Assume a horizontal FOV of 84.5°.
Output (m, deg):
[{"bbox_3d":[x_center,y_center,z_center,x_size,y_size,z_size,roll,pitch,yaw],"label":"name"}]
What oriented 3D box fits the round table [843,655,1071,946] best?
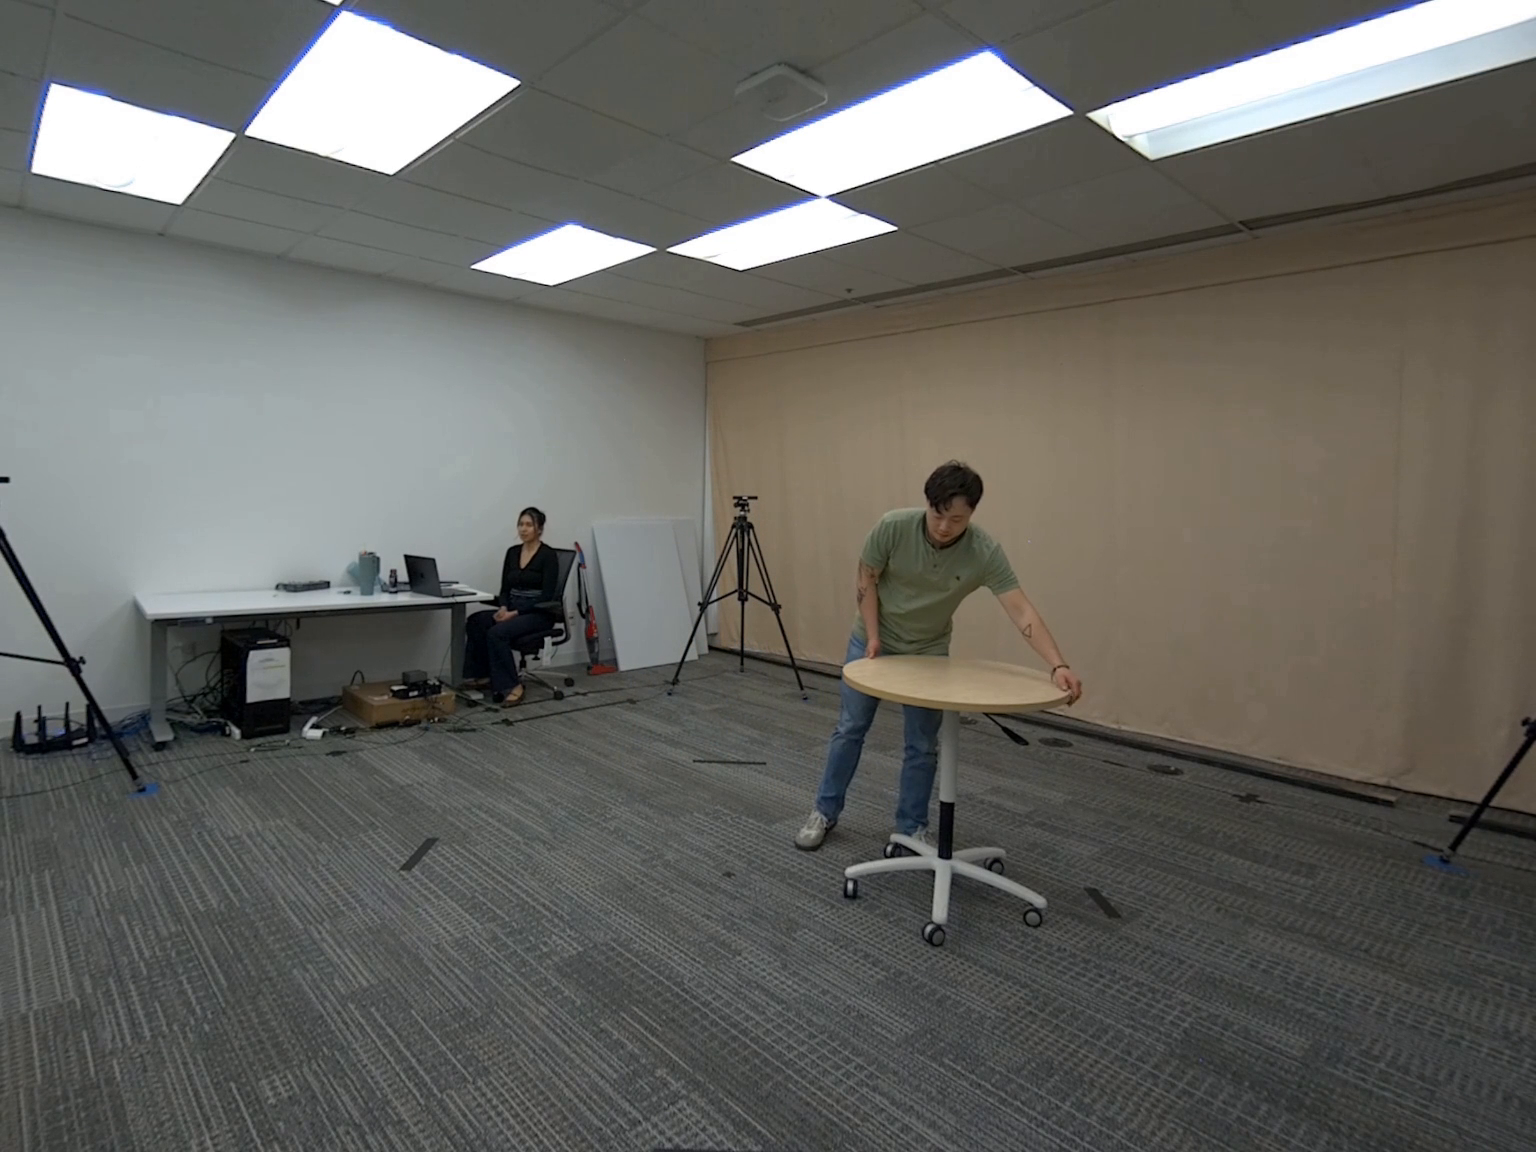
[{"bbox_3d":[0.623,0.746,2.957,0.763,0.792,0.767,2,4,-2],"label":"round table"}]
